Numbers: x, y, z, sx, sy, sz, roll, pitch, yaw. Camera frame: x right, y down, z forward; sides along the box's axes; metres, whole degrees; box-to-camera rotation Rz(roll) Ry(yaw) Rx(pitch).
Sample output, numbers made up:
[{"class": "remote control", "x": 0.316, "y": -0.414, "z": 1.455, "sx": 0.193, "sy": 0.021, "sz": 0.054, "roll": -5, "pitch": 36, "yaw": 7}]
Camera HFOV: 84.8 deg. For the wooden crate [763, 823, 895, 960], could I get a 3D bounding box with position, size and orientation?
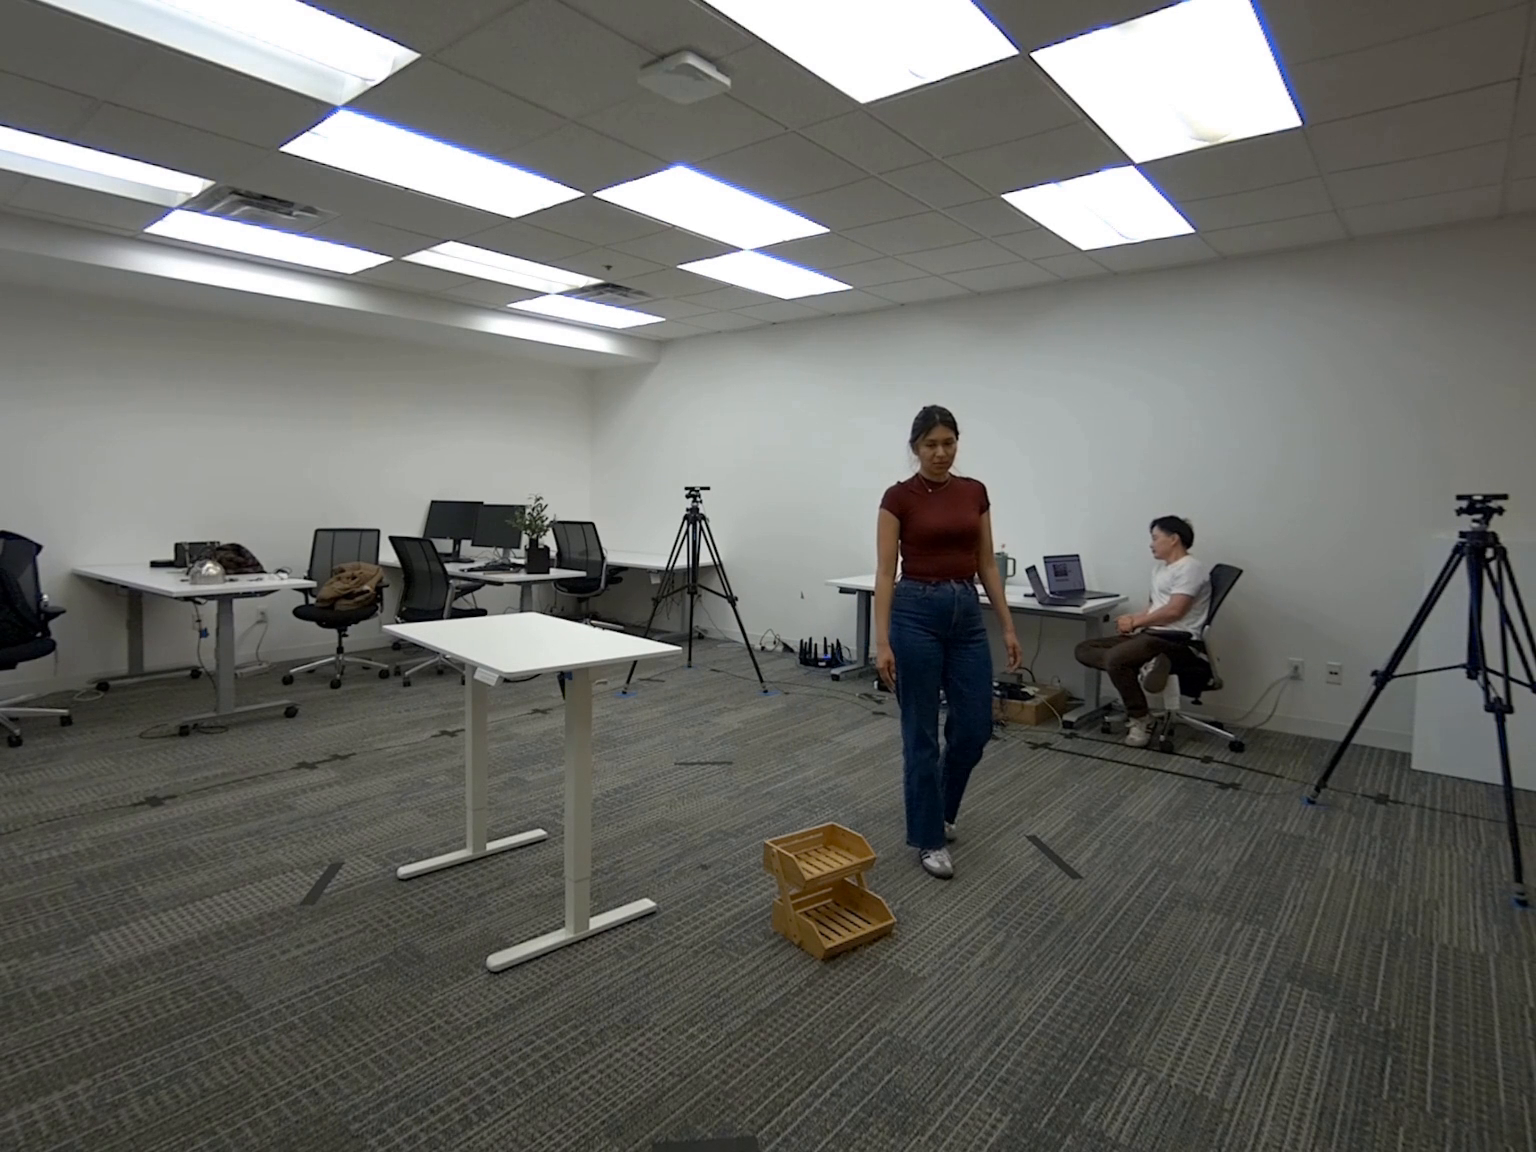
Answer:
[{"class": "wooden crate", "x": 0.190, "y": 0.978, "z": 2.691, "sx": 0.315, "sy": 0.272, "sz": 0.312, "roll": -2, "pitch": 5, "yaw": -37}]
